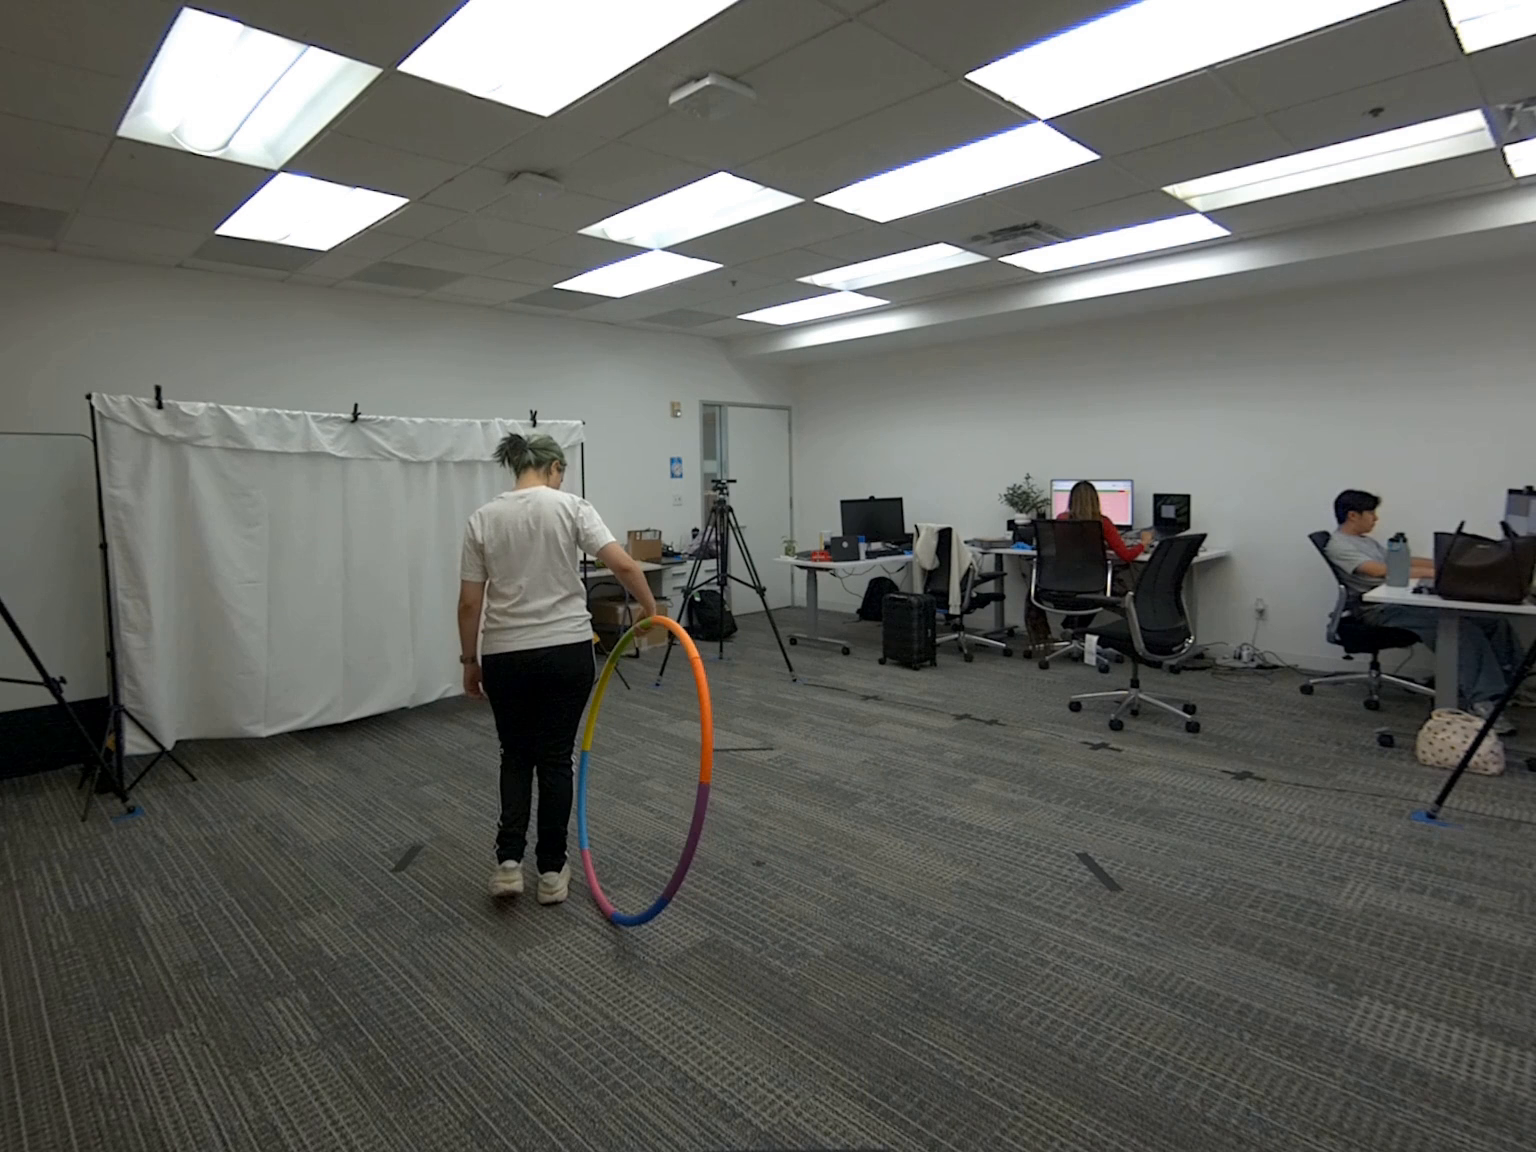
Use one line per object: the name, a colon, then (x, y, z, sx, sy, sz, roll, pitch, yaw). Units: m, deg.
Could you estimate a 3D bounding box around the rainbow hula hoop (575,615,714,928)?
rainbow hula hoop: (-0.435, 0.619, 2.810, 0.034, 0.981, 1.005, 13, -3, -30)
